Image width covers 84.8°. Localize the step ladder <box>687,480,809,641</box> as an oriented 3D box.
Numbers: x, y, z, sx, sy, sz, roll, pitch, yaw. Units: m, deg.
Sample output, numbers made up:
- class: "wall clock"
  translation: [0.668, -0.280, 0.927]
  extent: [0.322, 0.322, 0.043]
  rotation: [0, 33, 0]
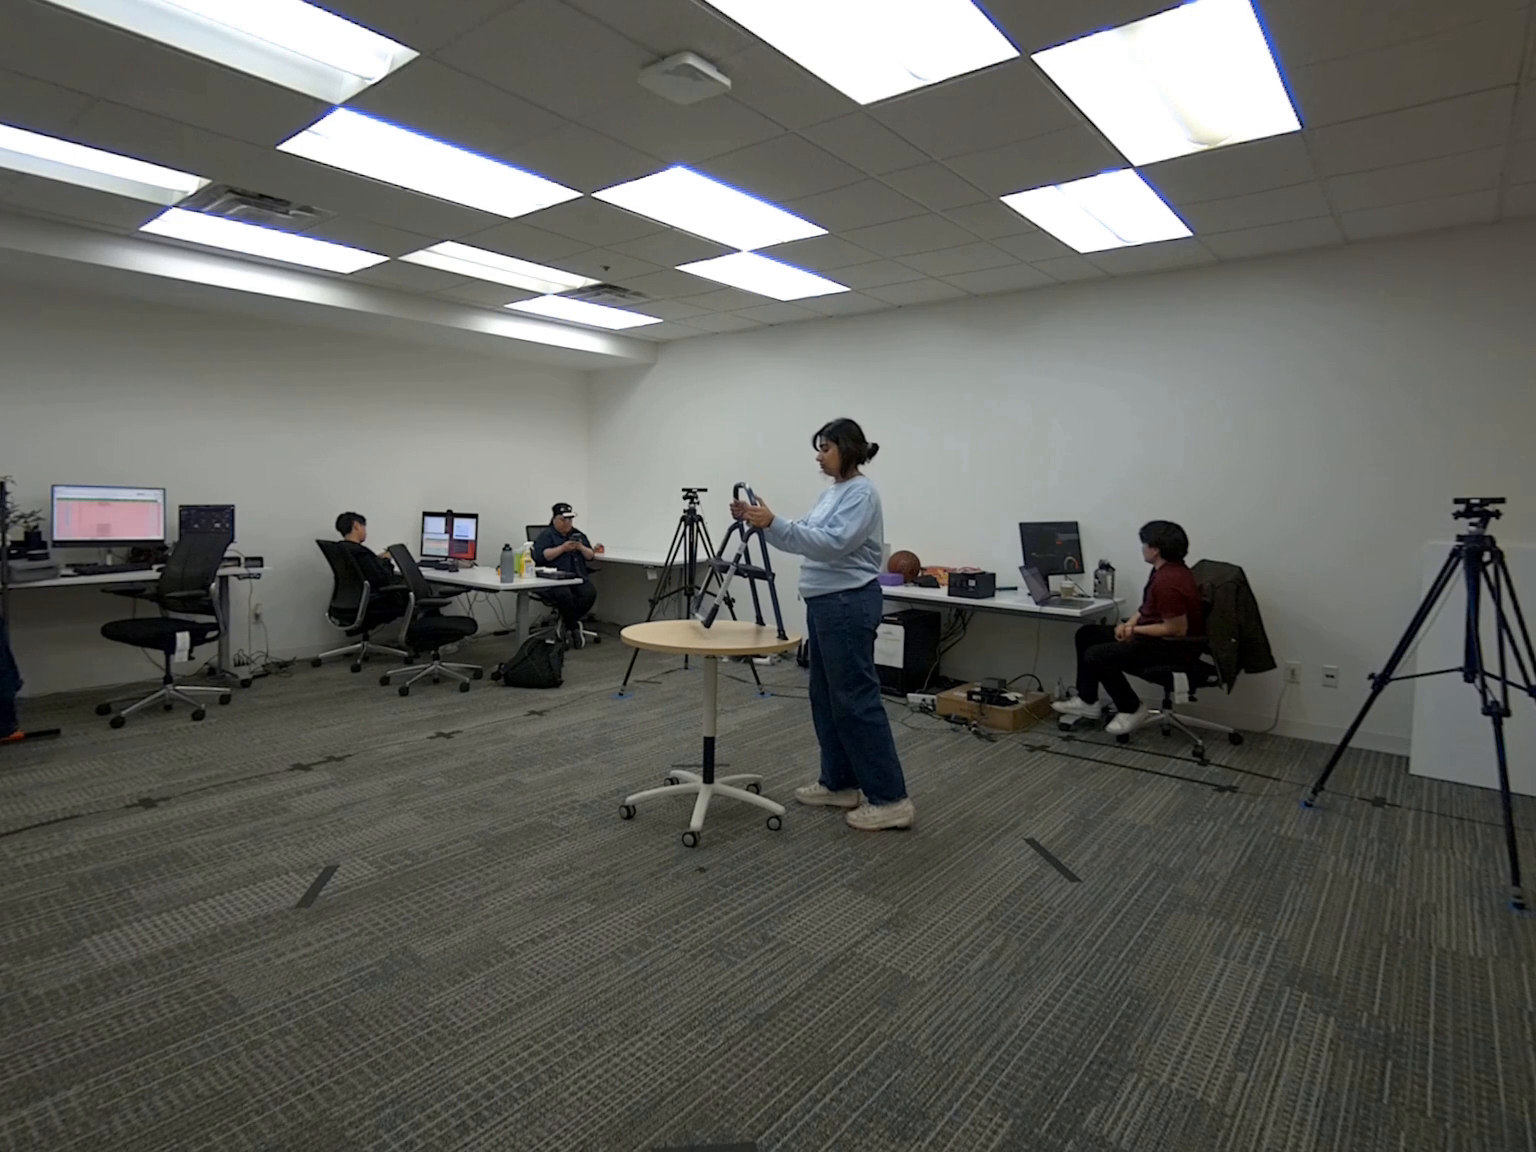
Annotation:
- class: "step ladder"
  translation: [-0.101, -0.085, 3.617]
  extent: [0.344, 0.605, 0.438]
  rotation: [8, 3, -13]
